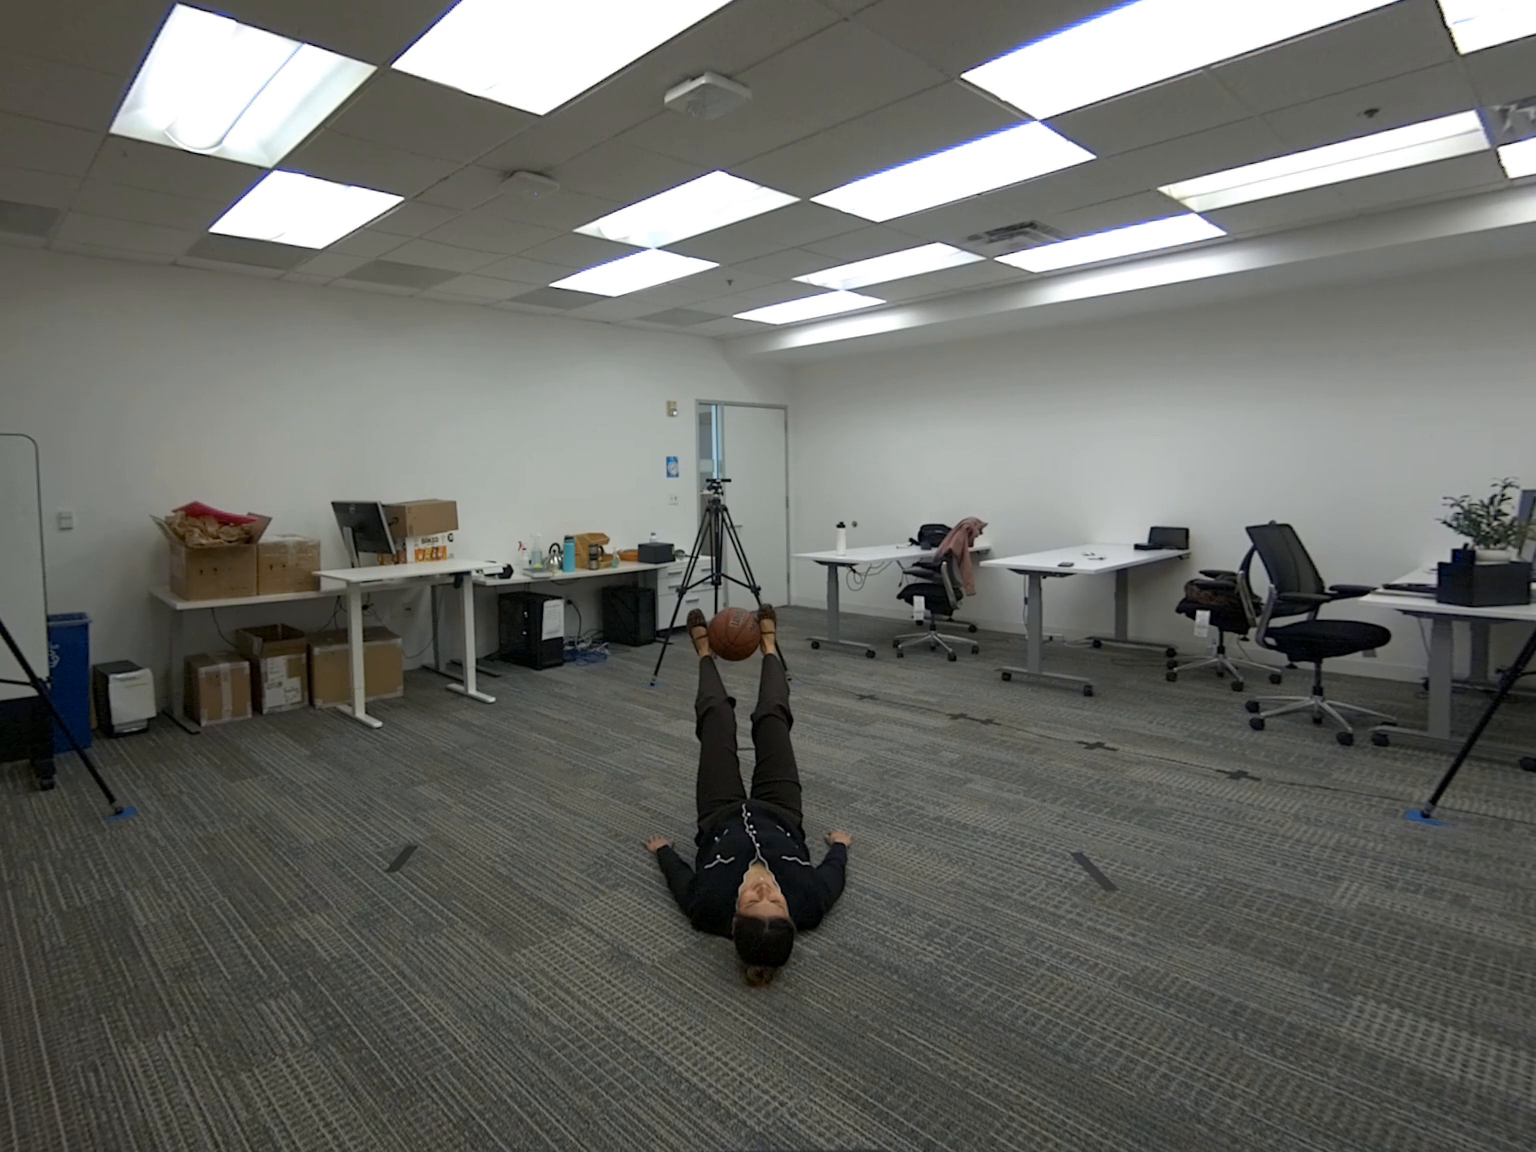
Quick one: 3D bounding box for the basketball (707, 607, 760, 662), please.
[{"bbox_3d":[-0.142,0.250,3.744,0.236,0.235,0.237,-4,4,-1],"label":"basketball"}]
